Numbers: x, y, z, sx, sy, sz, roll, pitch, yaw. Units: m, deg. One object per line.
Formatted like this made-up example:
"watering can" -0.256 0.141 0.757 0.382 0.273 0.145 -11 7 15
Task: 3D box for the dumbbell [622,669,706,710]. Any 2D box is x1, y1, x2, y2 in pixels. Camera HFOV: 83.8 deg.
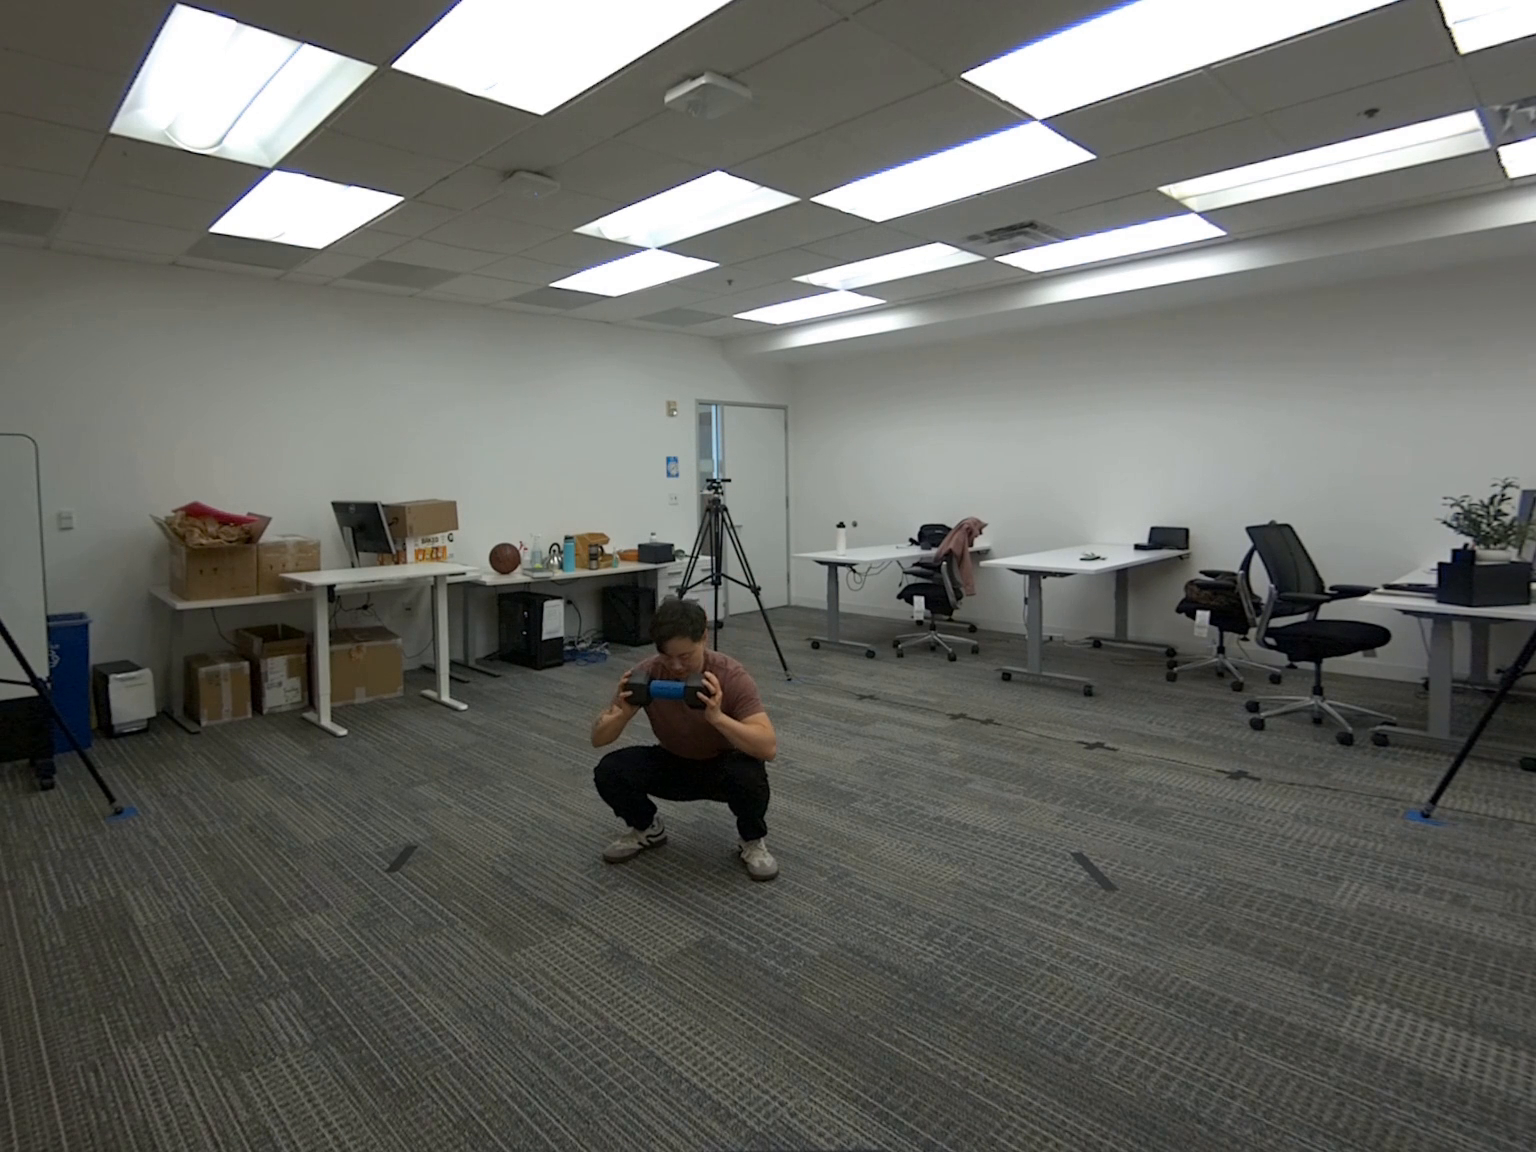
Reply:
"dumbbell" -0.343 0.373 2.871 0.298 0.111 0.119 2 -27 14
